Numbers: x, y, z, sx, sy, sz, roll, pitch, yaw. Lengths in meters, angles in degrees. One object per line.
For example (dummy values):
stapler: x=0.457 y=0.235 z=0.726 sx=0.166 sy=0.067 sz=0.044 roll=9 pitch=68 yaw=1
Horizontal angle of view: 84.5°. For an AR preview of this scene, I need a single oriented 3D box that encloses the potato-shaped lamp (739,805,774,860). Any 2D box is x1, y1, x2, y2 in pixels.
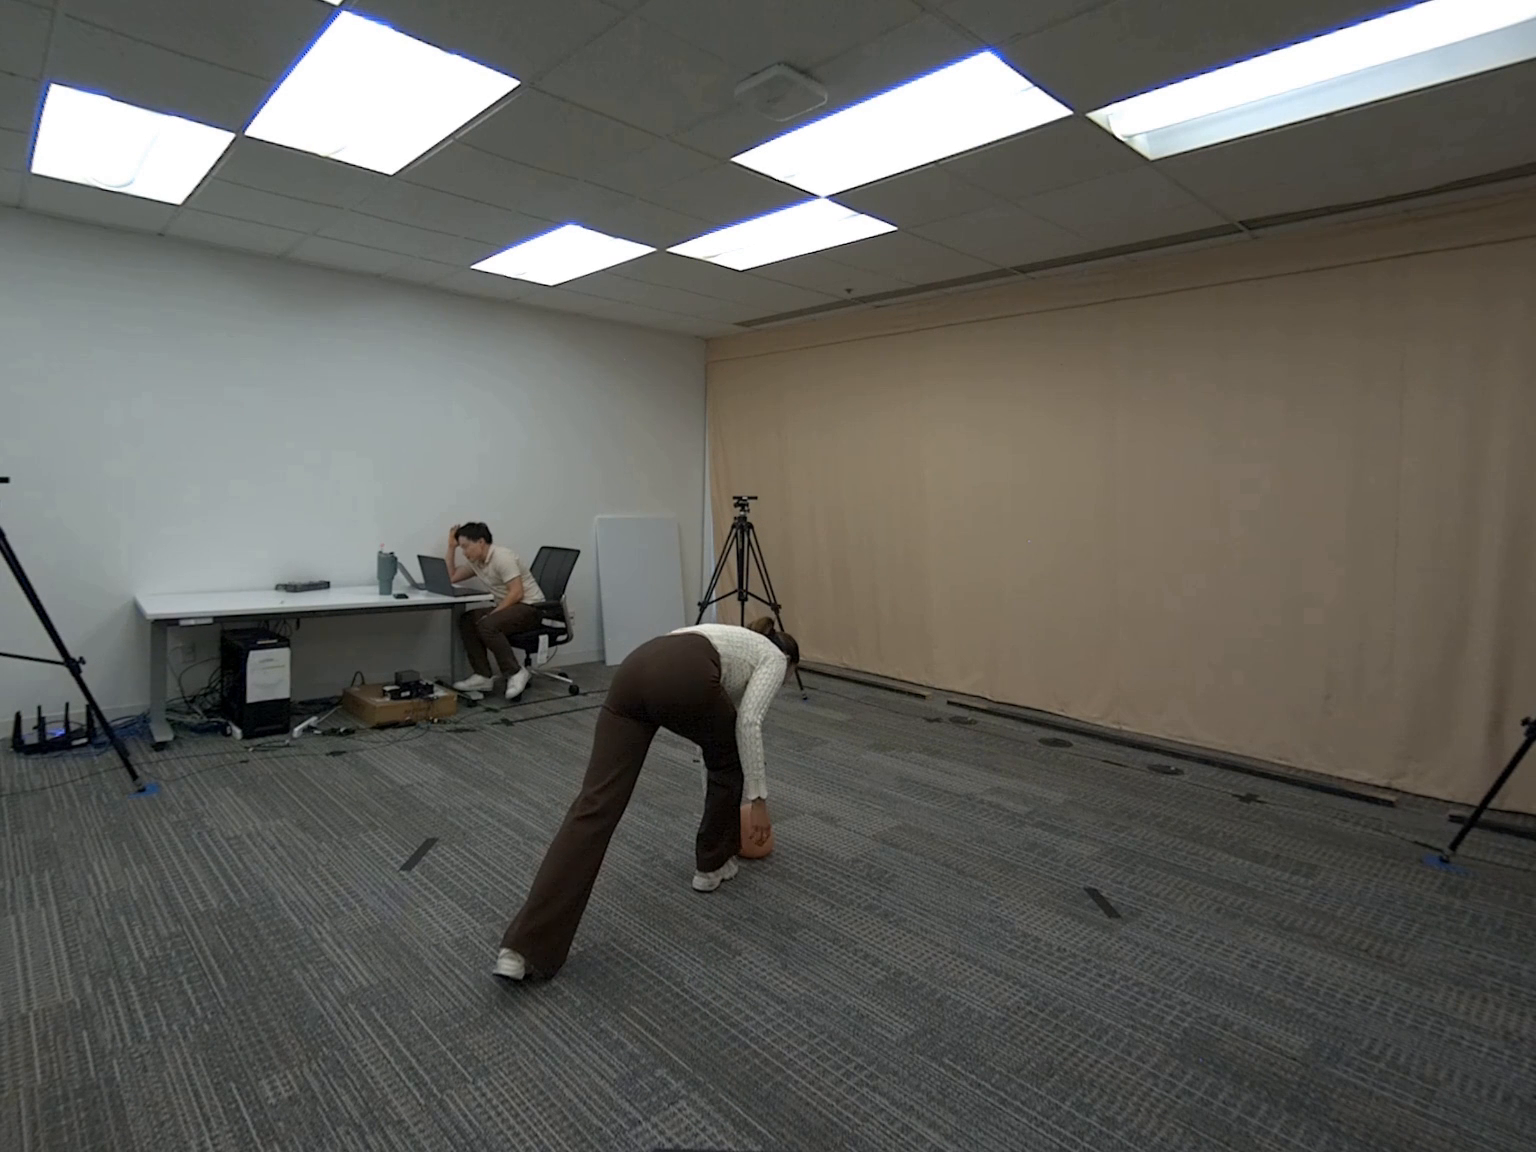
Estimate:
potato-shaped lamp: x=-0.068 y=0.990 z=3.288 sx=0.168 sy=0.197 sz=0.168 roll=3 pitch=4 yaw=29
